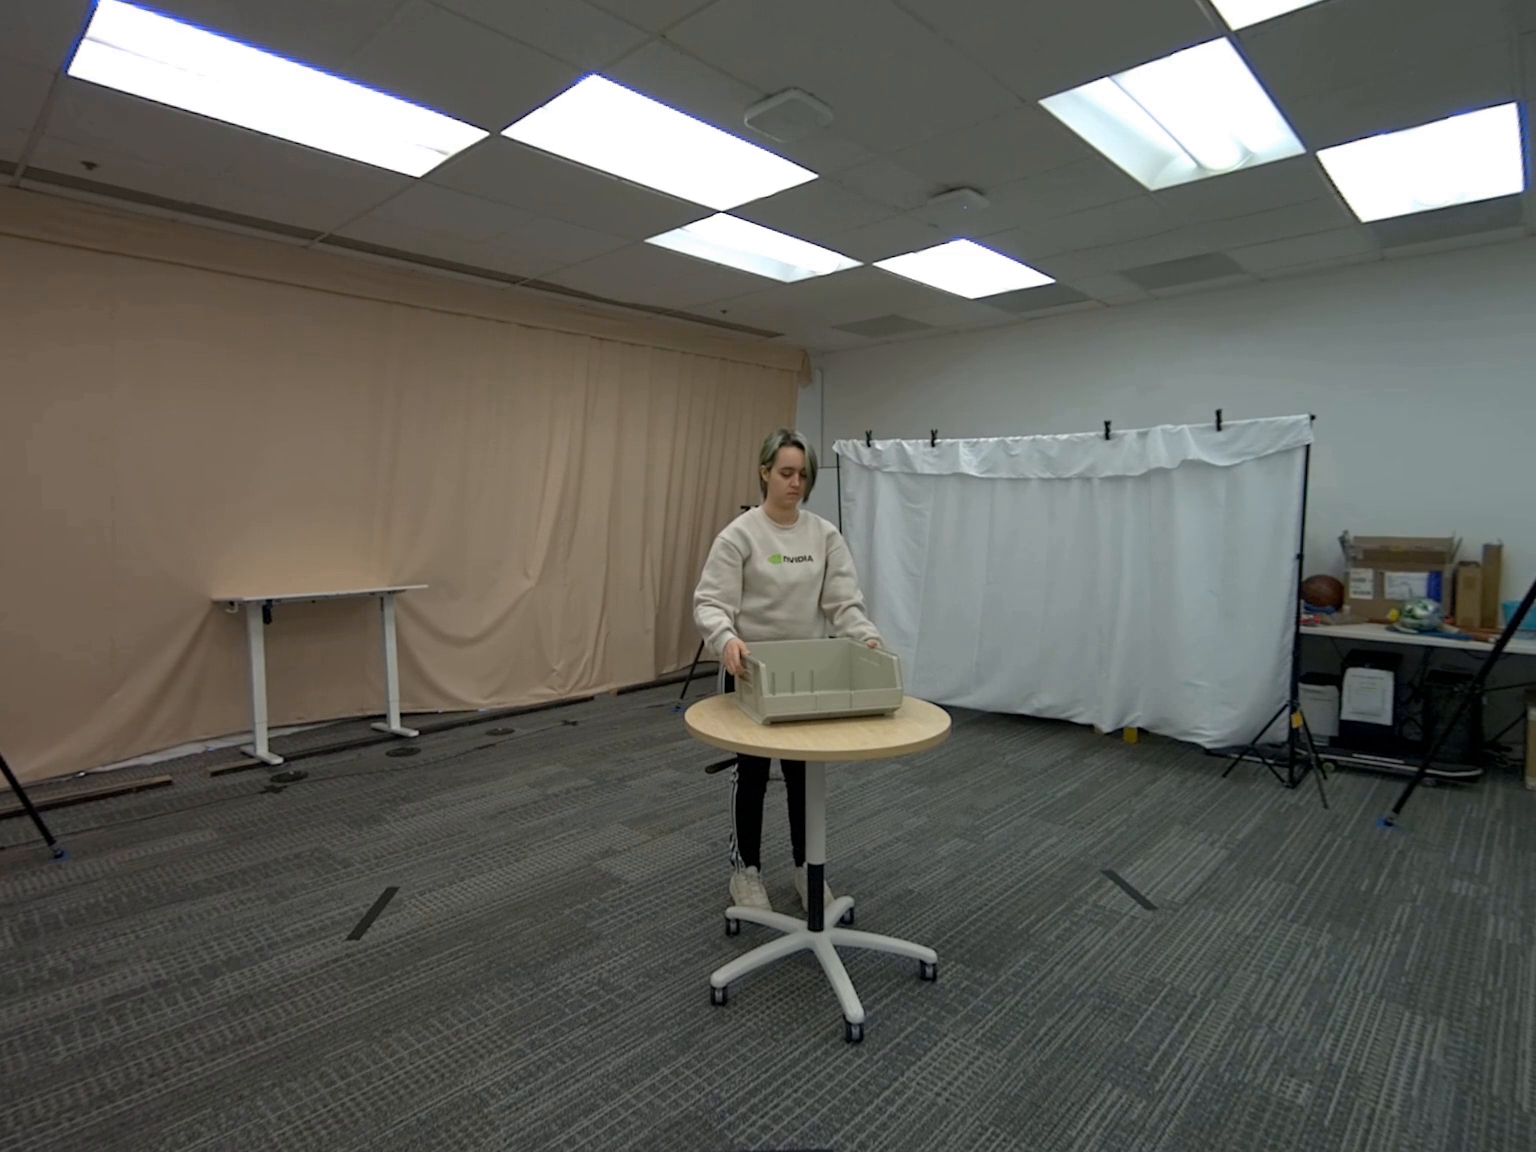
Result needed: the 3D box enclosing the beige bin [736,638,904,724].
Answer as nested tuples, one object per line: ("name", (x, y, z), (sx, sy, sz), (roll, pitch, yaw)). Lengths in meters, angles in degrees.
("beige bin", (0.132, 0.308, 2.511), (0.416, 0.188, 0.384), (-3, 4, -15))
